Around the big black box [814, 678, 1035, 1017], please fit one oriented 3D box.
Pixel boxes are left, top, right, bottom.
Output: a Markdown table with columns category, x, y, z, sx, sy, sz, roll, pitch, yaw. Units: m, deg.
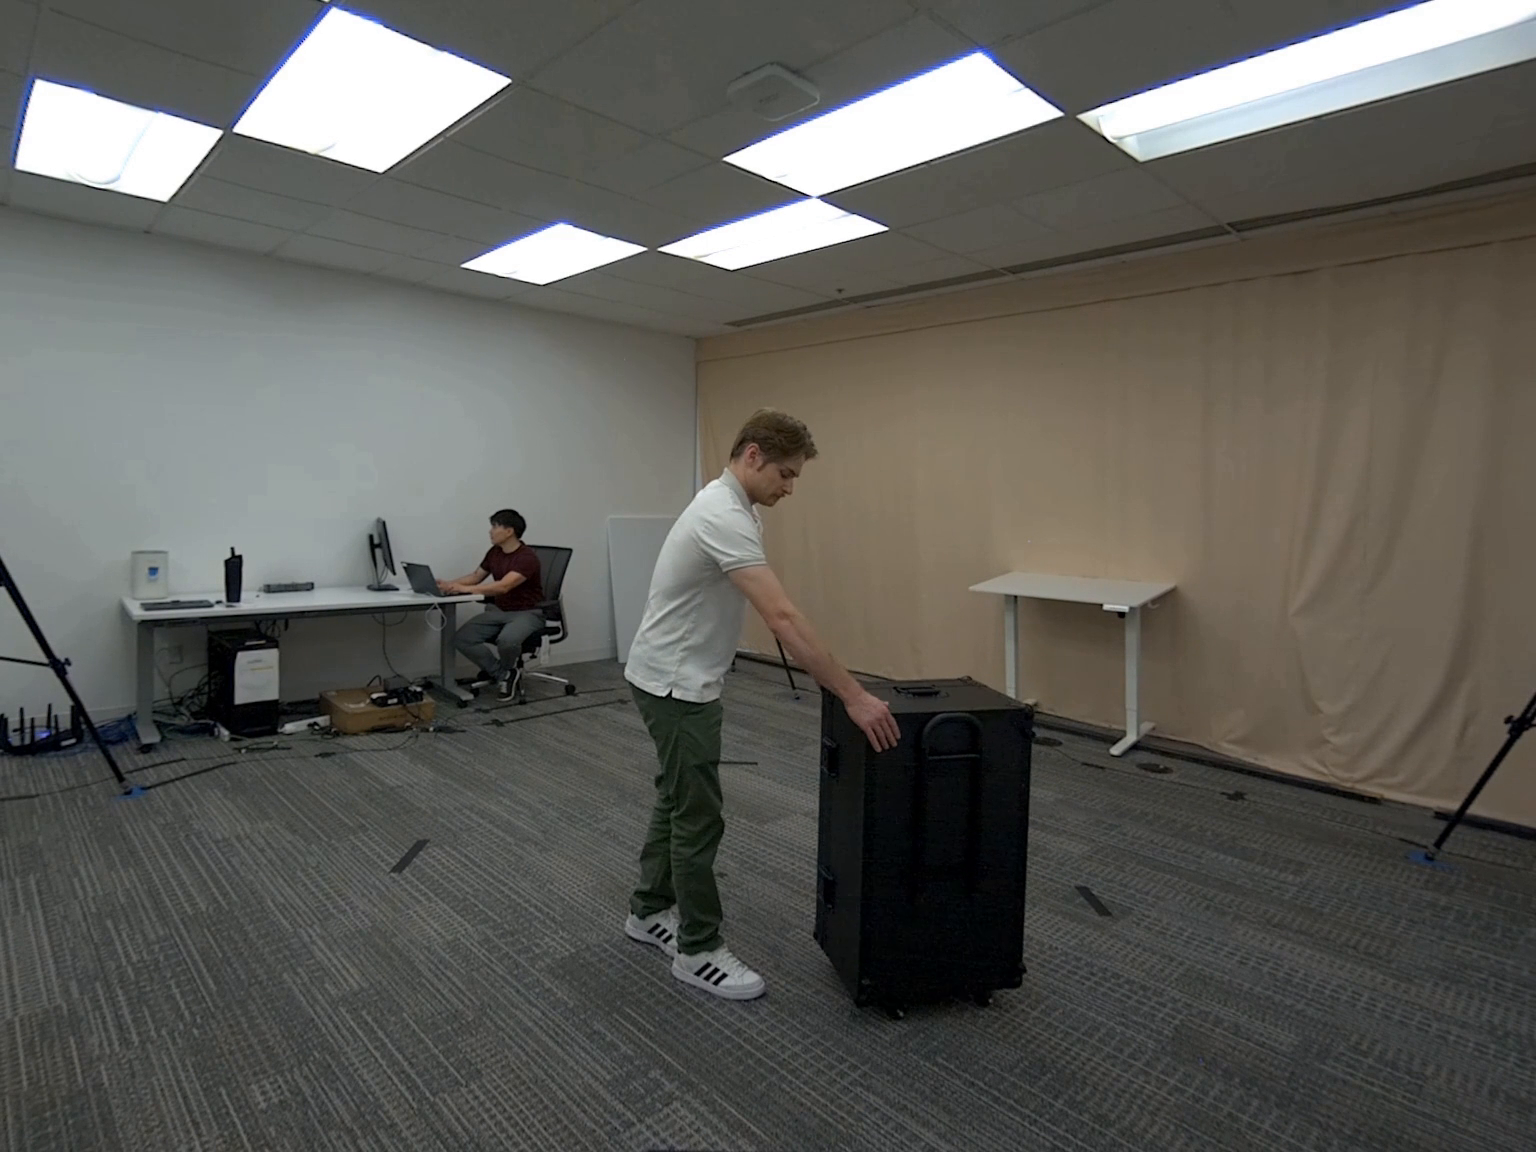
| category | x | y | z | sx | sy | sz | roll | pitch | yaw |
| --- | --- | --- | --- | --- | --- | --- | --- | --- | --- |
| big black box | 0.432 | 0.765 | 2.395 | 0.518 | 0.866 | 0.390 | 0 | 4 | -14 |
